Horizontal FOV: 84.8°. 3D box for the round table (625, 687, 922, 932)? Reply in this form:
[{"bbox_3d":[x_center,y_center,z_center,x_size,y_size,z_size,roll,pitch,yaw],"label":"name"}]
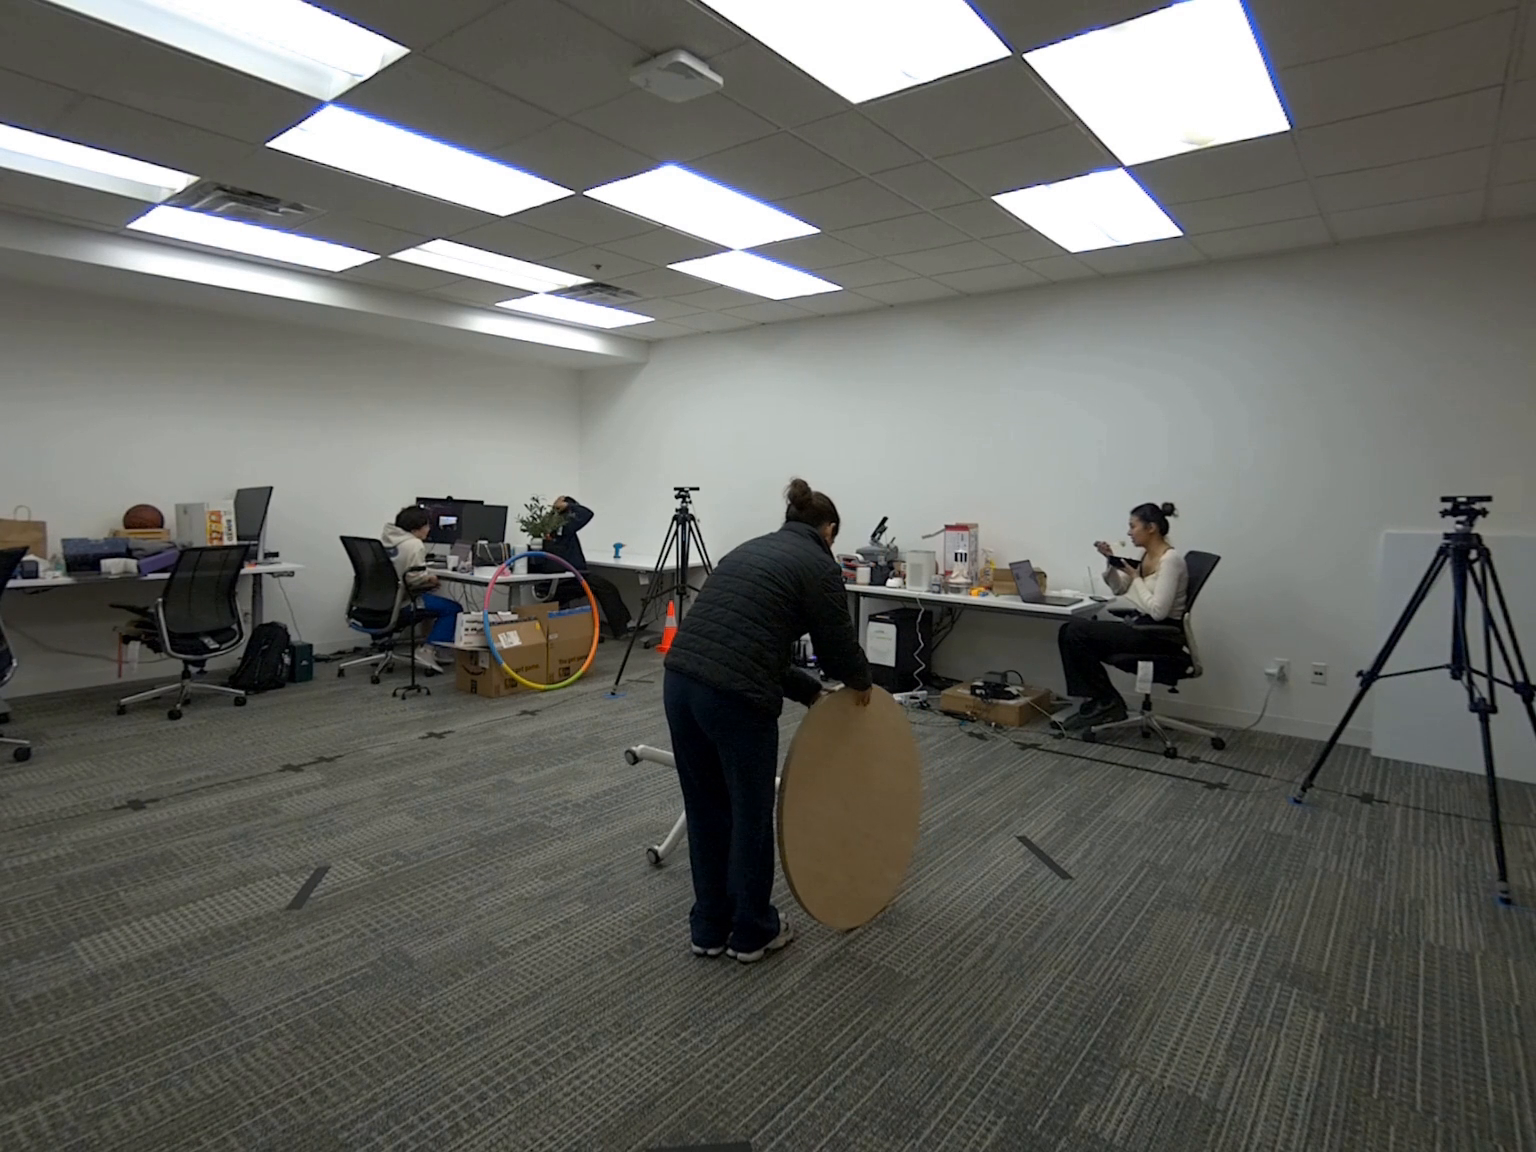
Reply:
[{"bbox_3d":[0.006,0.730,3.038,0.810,0.786,0.761,-3,0,42],"label":"round table"}]
